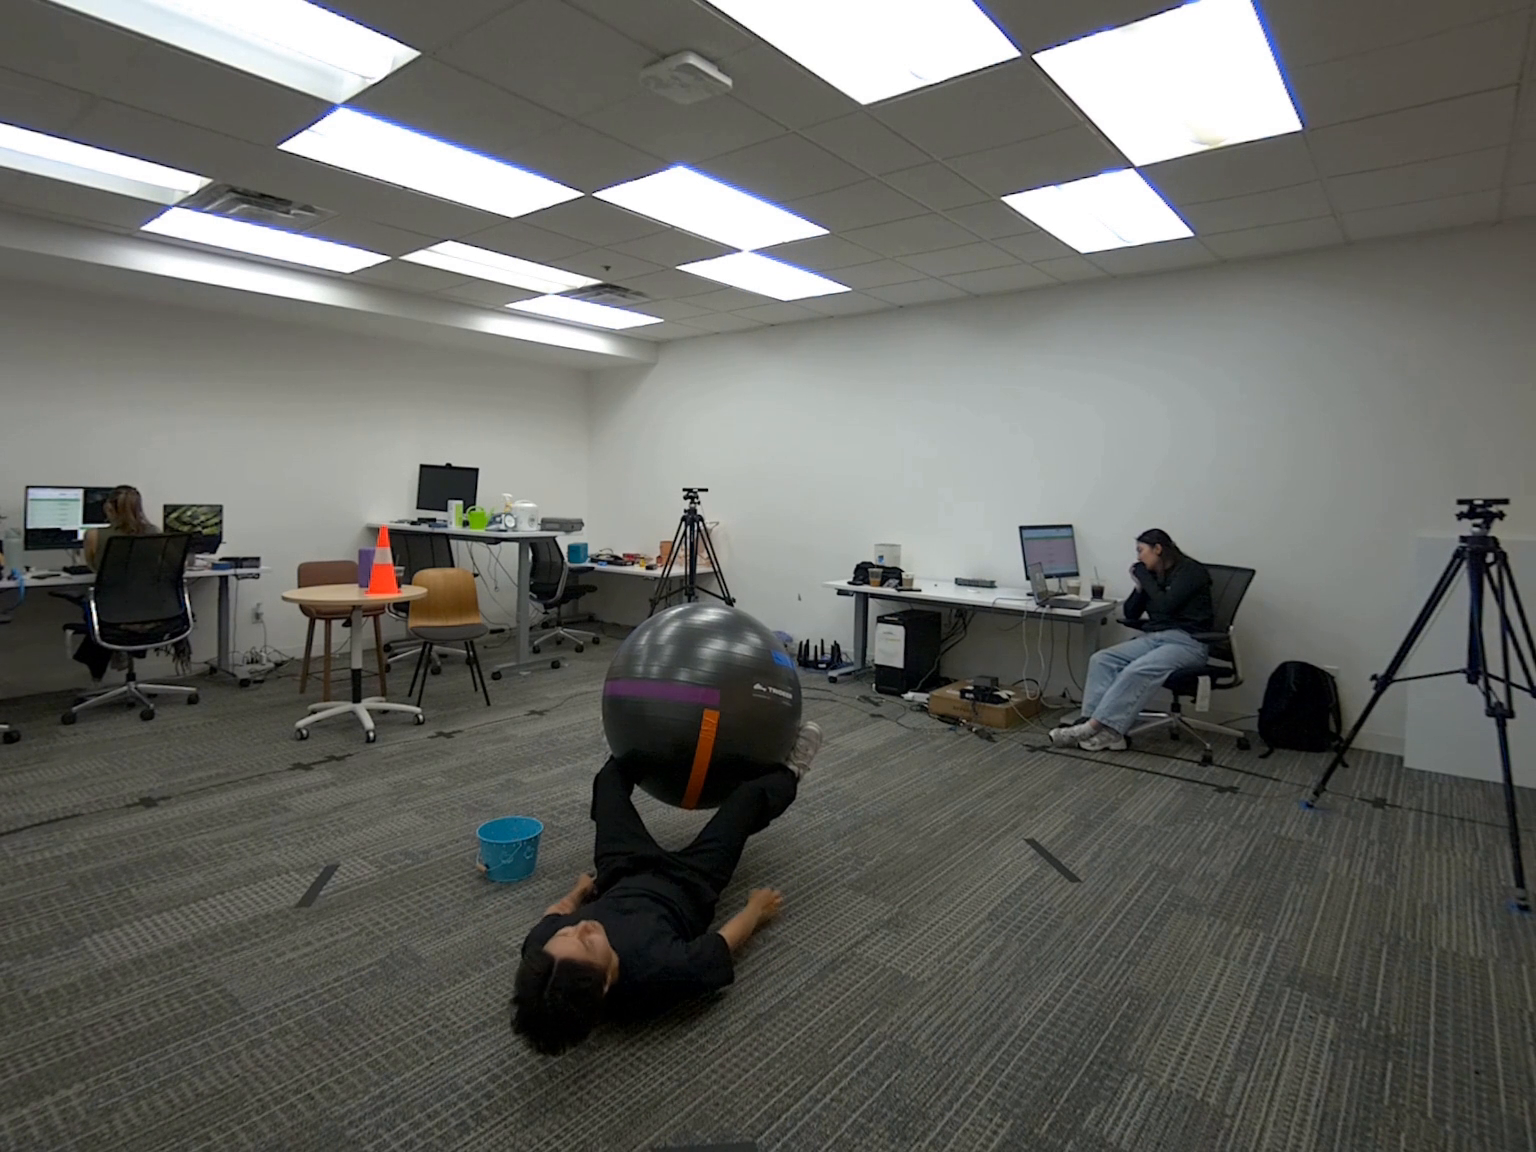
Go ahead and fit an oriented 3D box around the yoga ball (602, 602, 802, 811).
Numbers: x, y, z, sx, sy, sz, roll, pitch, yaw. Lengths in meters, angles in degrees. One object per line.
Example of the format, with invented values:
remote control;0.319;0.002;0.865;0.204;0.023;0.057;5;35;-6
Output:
yoga ball;-0.258;0.481;3.214;0.757;0.755;0.762;1;4;-2
